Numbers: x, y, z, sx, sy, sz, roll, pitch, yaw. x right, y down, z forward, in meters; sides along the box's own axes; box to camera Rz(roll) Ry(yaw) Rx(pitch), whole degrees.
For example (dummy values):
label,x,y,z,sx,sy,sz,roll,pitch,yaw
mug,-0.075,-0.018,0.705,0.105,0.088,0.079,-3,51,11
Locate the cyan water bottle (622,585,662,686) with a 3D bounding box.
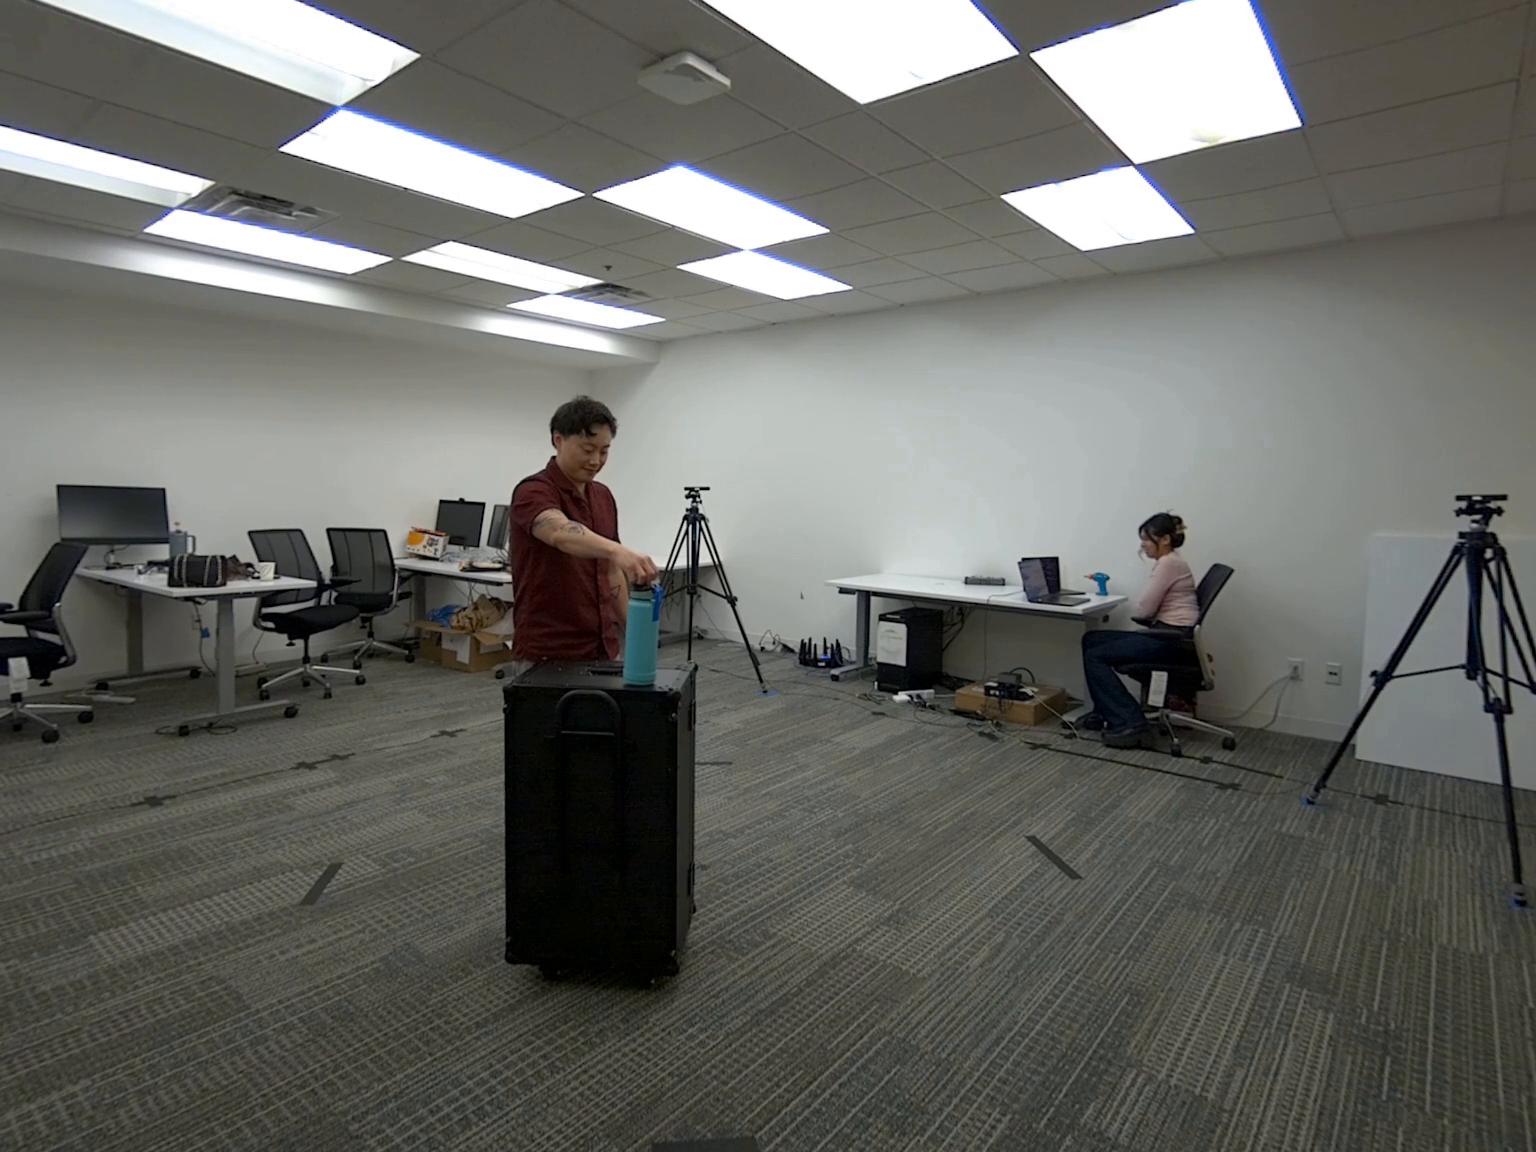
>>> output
label,x,y,z,sx,sy,sz,roll,pitch,yaw
cyan water bottle,-0.349,0.149,2.318,0.092,0.282,0.093,5,5,-2
